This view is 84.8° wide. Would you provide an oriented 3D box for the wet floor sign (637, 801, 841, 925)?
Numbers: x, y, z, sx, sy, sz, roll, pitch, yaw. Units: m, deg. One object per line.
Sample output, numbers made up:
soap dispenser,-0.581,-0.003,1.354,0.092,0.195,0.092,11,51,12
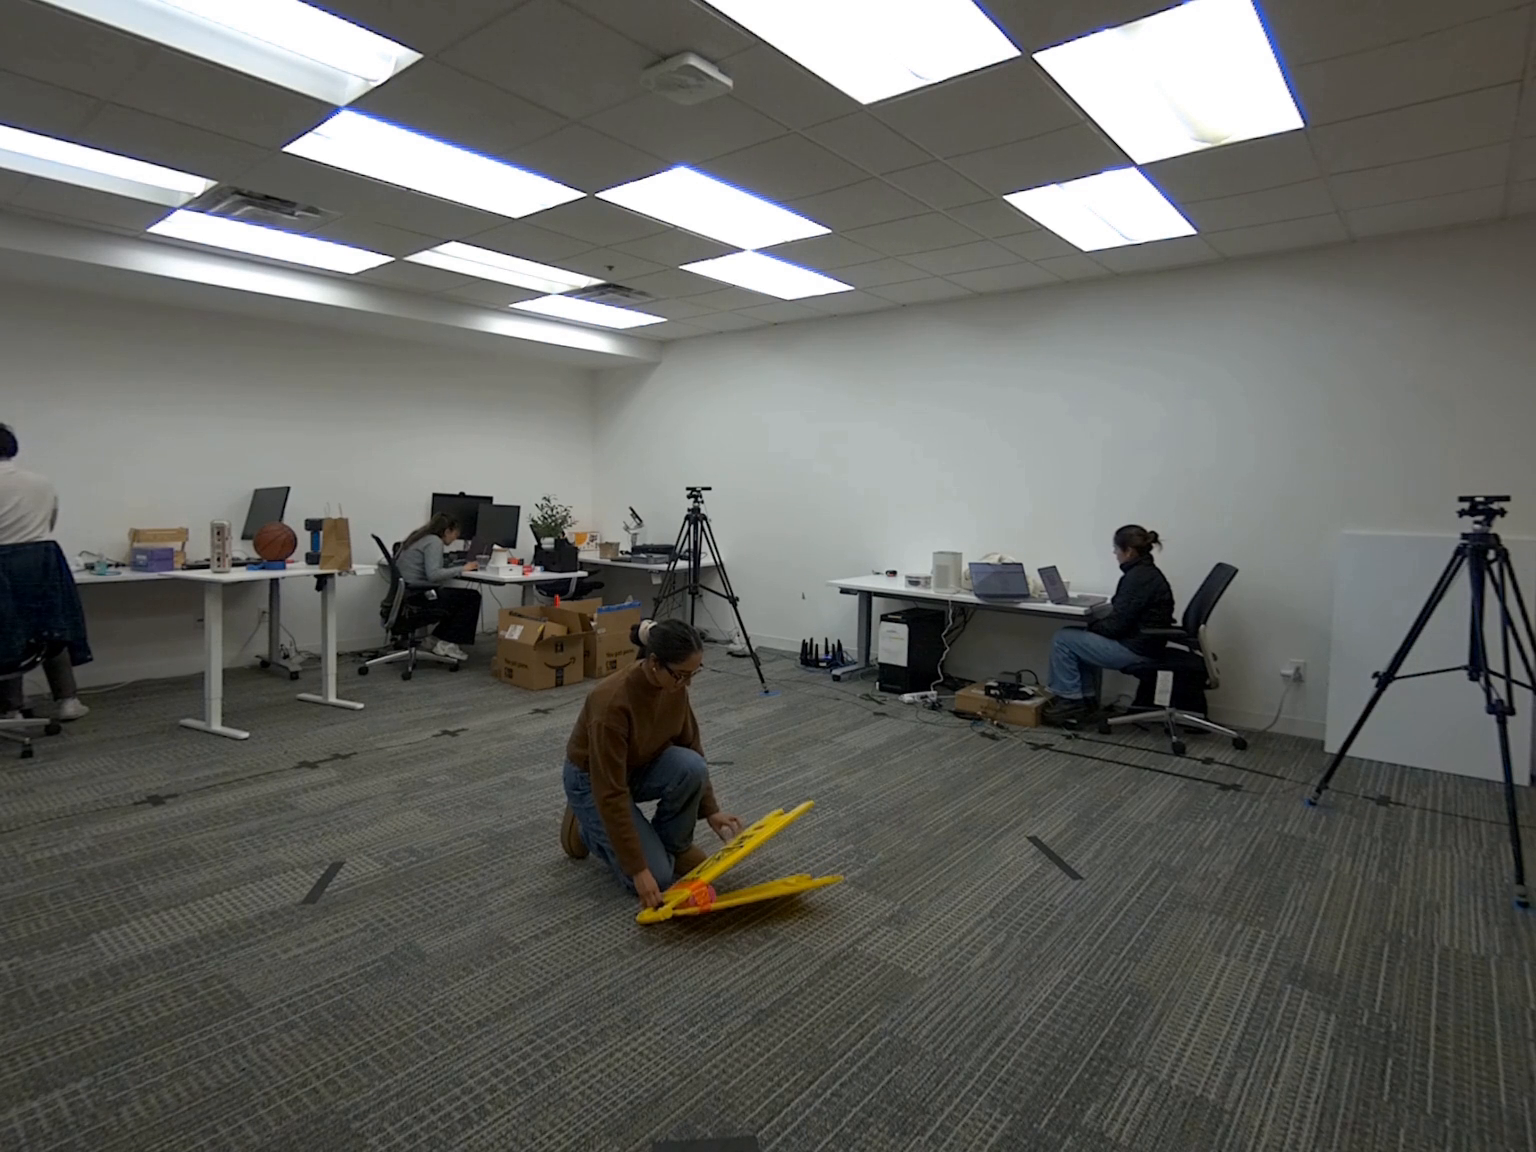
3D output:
wet floor sign,-0.127,0.990,2.797,0.632,0.294,0.284,-15,-13,-33
